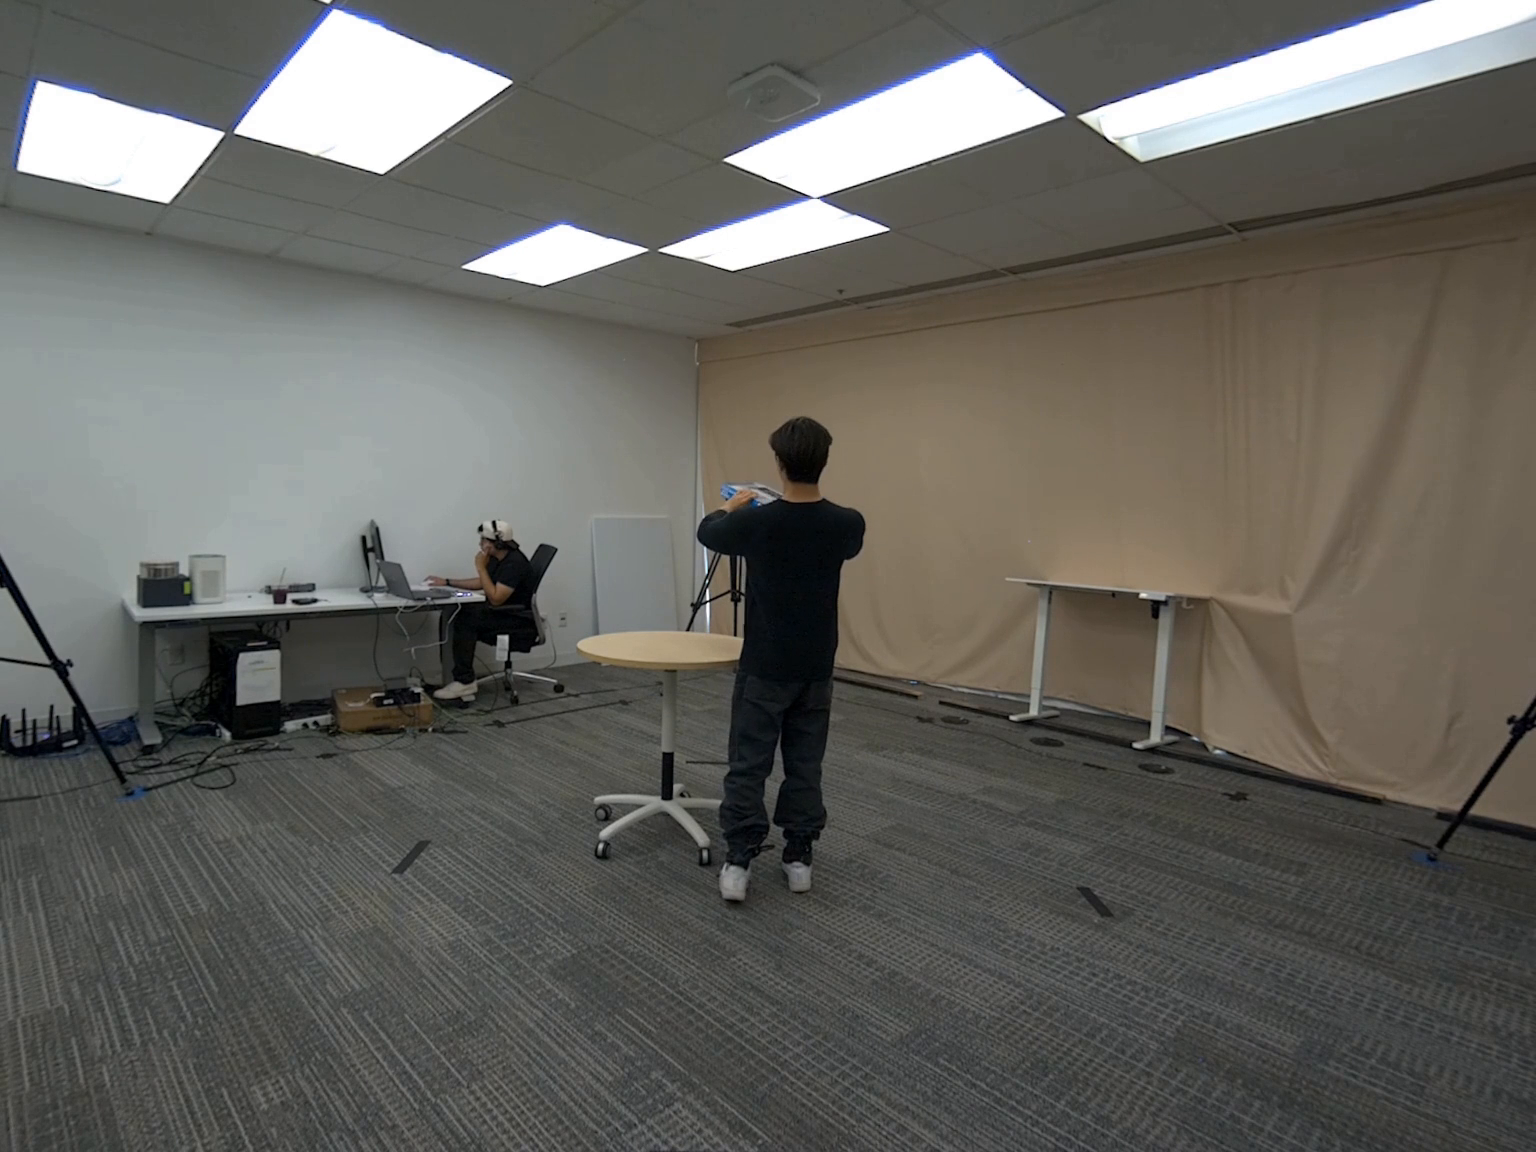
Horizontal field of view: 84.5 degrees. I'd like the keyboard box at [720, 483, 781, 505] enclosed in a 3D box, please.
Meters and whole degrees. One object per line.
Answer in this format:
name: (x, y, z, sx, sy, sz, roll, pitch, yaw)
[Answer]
keyboard box: (-0.032, -0.312, 3.445, 0.173, 0.058, 0.449, -5, 20, -28)
